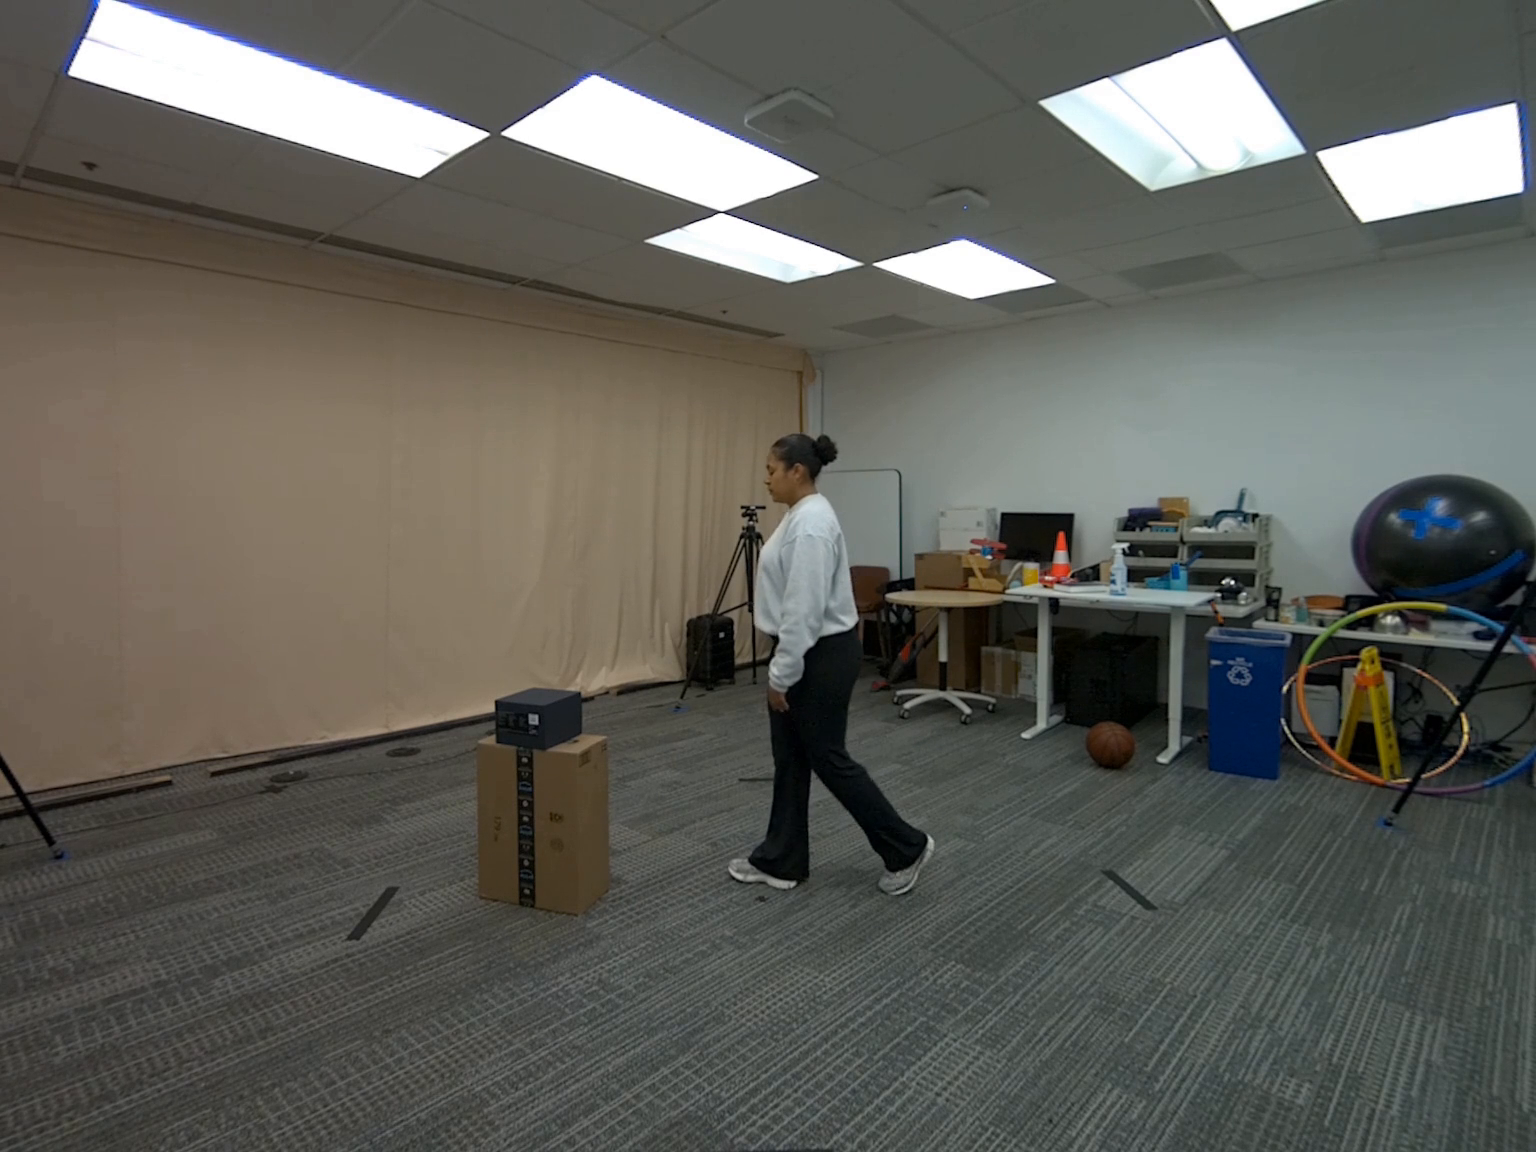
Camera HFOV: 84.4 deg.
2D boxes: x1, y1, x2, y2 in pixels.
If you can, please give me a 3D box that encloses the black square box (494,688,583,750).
[{"bbox_3d":[-0.816,0.503,3.014,0.222,0.155,0.223,1,5,23],"label":"black square box"}]
